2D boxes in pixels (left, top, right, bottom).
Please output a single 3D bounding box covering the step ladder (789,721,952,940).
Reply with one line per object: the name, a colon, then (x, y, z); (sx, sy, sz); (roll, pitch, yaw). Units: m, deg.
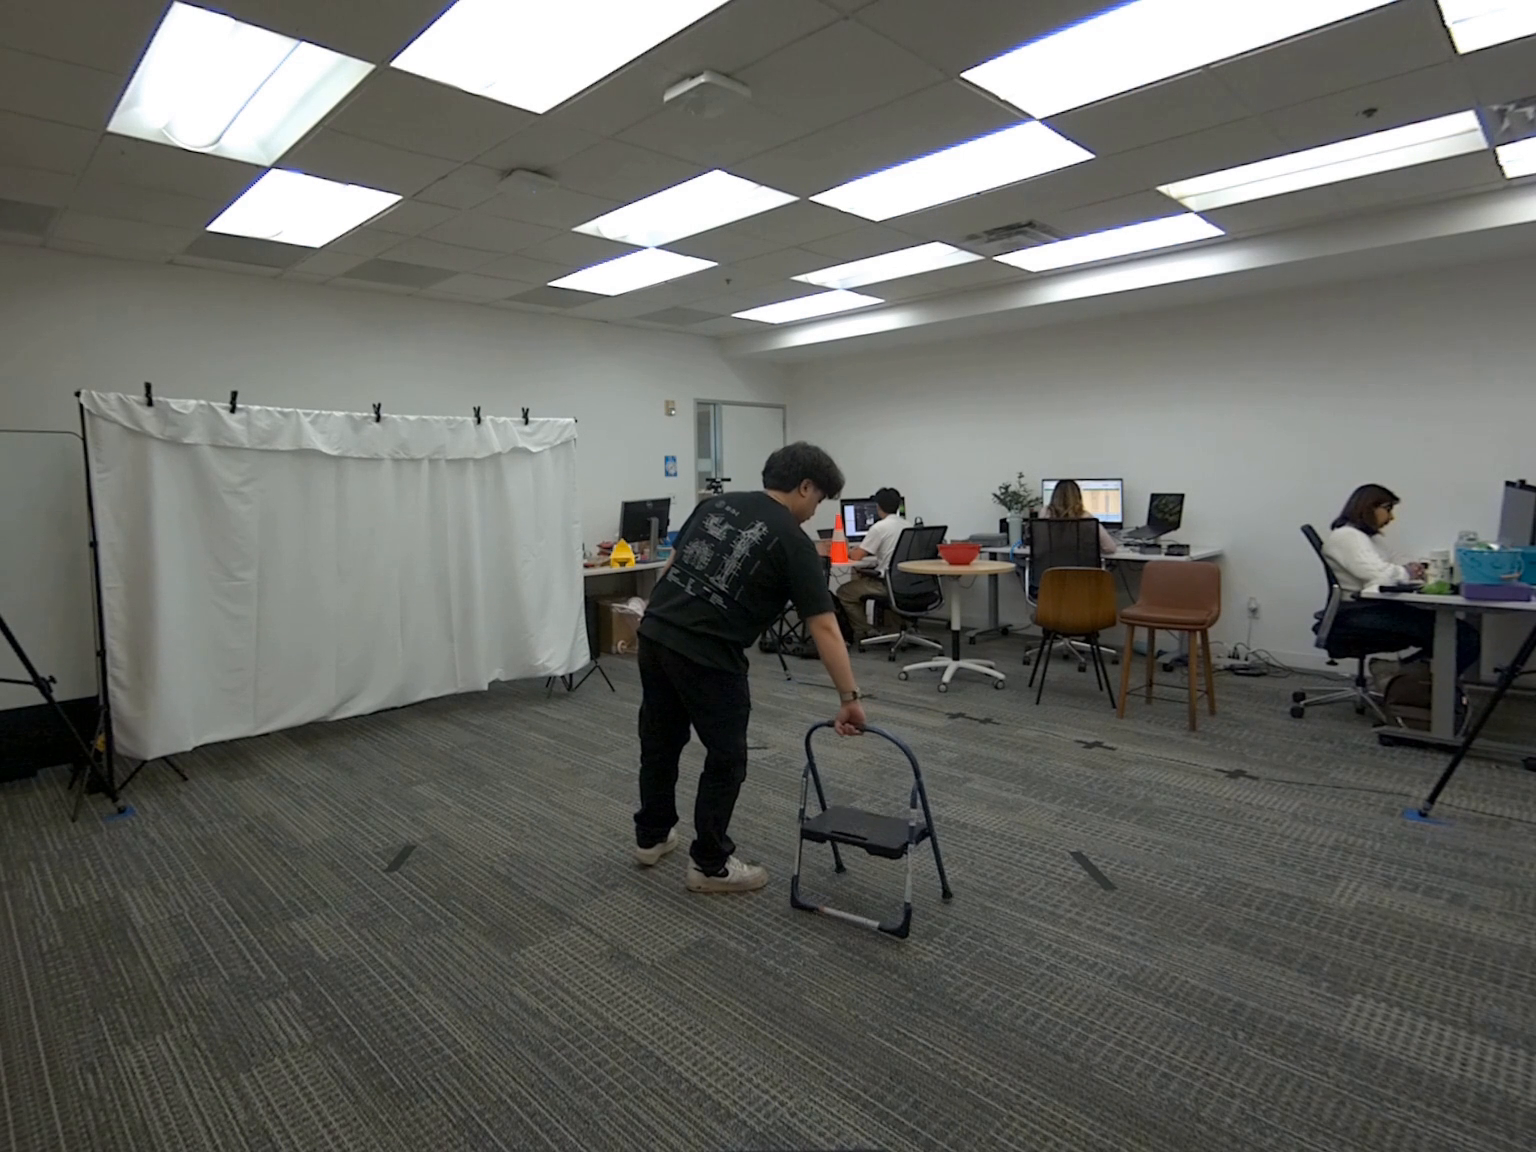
step ladder: (0.319, 0.760, 2.787); (0.442, 0.605, 0.341); (-2, 3, 35)
